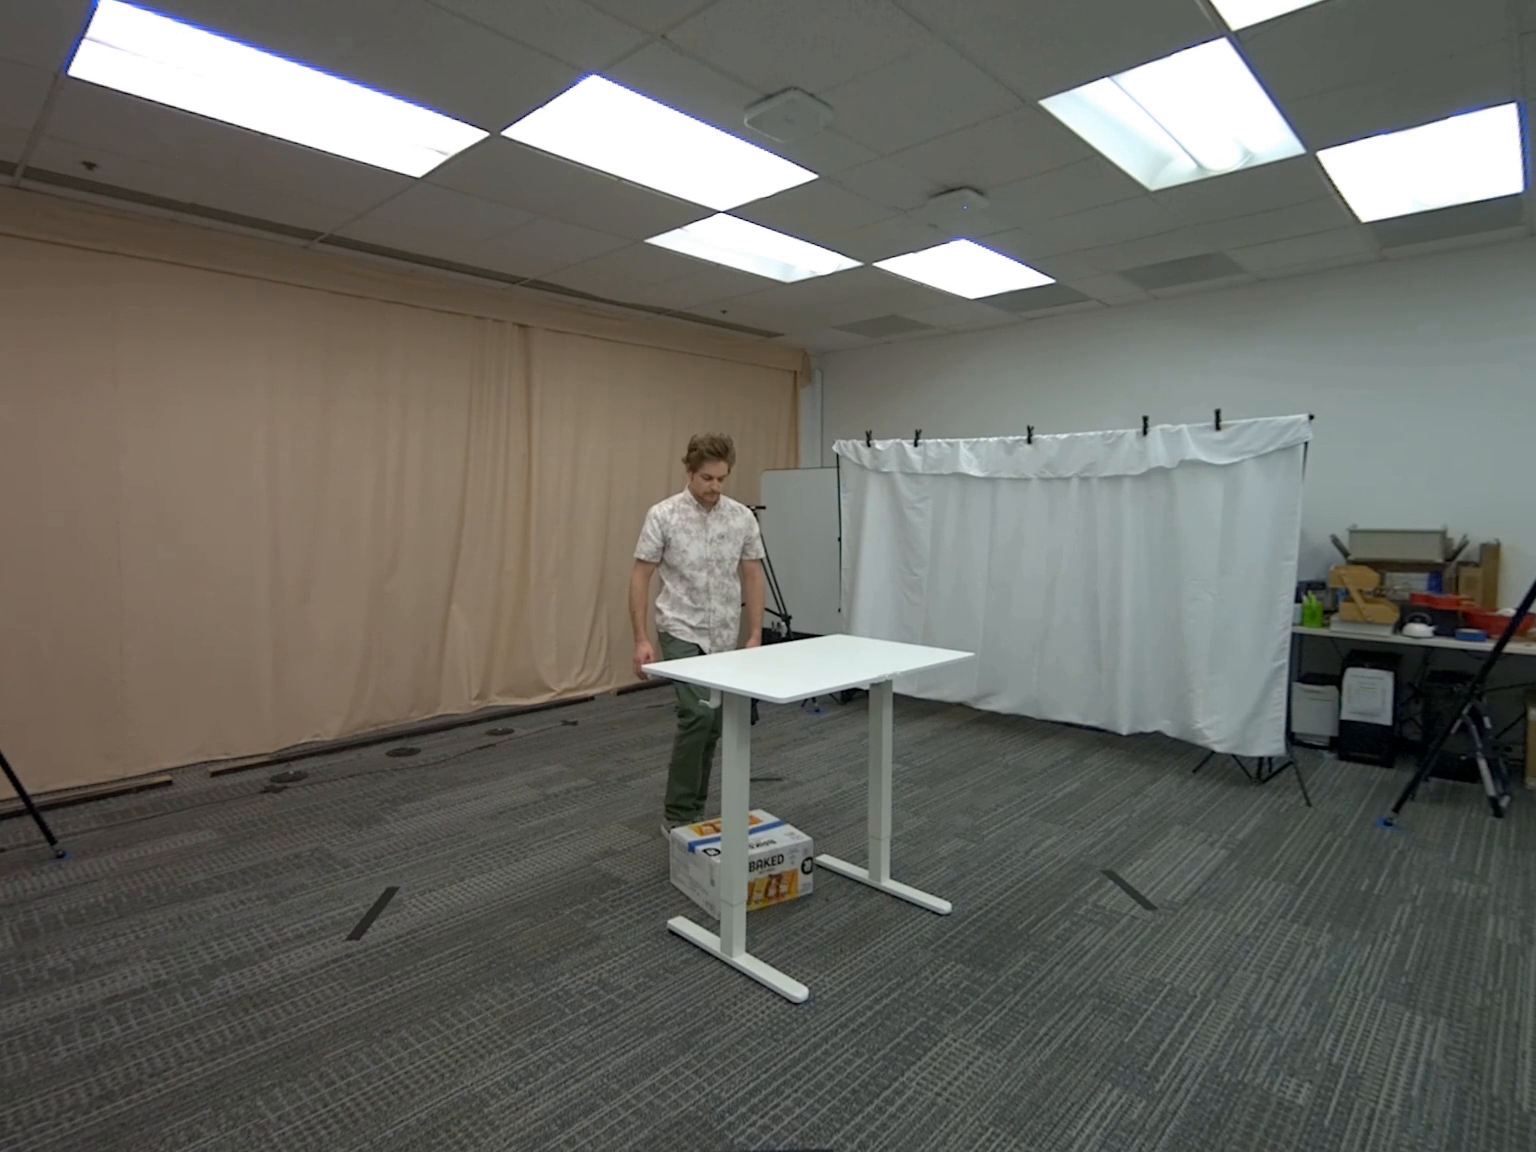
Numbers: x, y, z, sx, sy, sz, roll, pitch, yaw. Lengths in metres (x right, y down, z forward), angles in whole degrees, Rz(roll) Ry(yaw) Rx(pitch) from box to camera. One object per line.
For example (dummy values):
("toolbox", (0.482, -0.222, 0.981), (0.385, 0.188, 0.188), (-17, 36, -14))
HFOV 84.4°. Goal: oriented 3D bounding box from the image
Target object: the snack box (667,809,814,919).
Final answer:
("snack box", (-0.096, 1.037, 3.056), (0.394, 0.205, 0.351), (-3, 5, -33))
